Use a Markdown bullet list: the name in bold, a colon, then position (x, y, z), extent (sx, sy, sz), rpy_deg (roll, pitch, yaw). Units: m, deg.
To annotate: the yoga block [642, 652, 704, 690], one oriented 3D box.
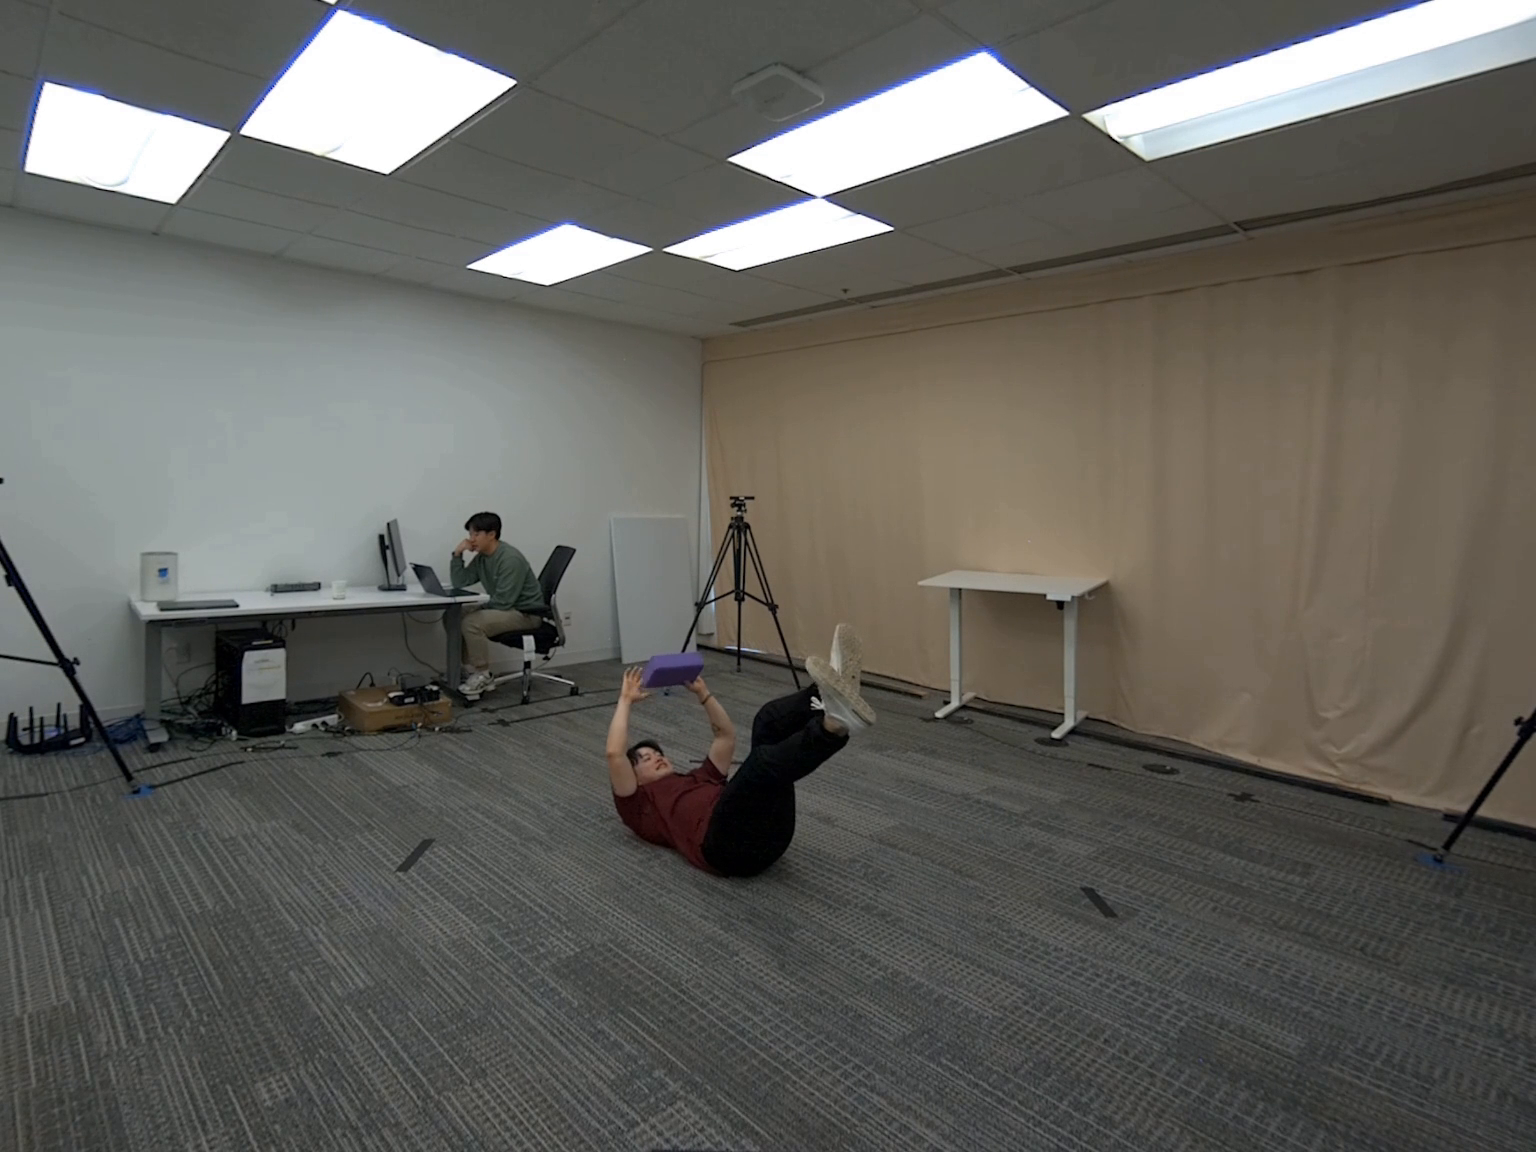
- **yoga block**: position (-0.399, 0.387, 3.502), extent (0.224, 0.078, 0.148), rpy_deg (-1, -39, -33)
